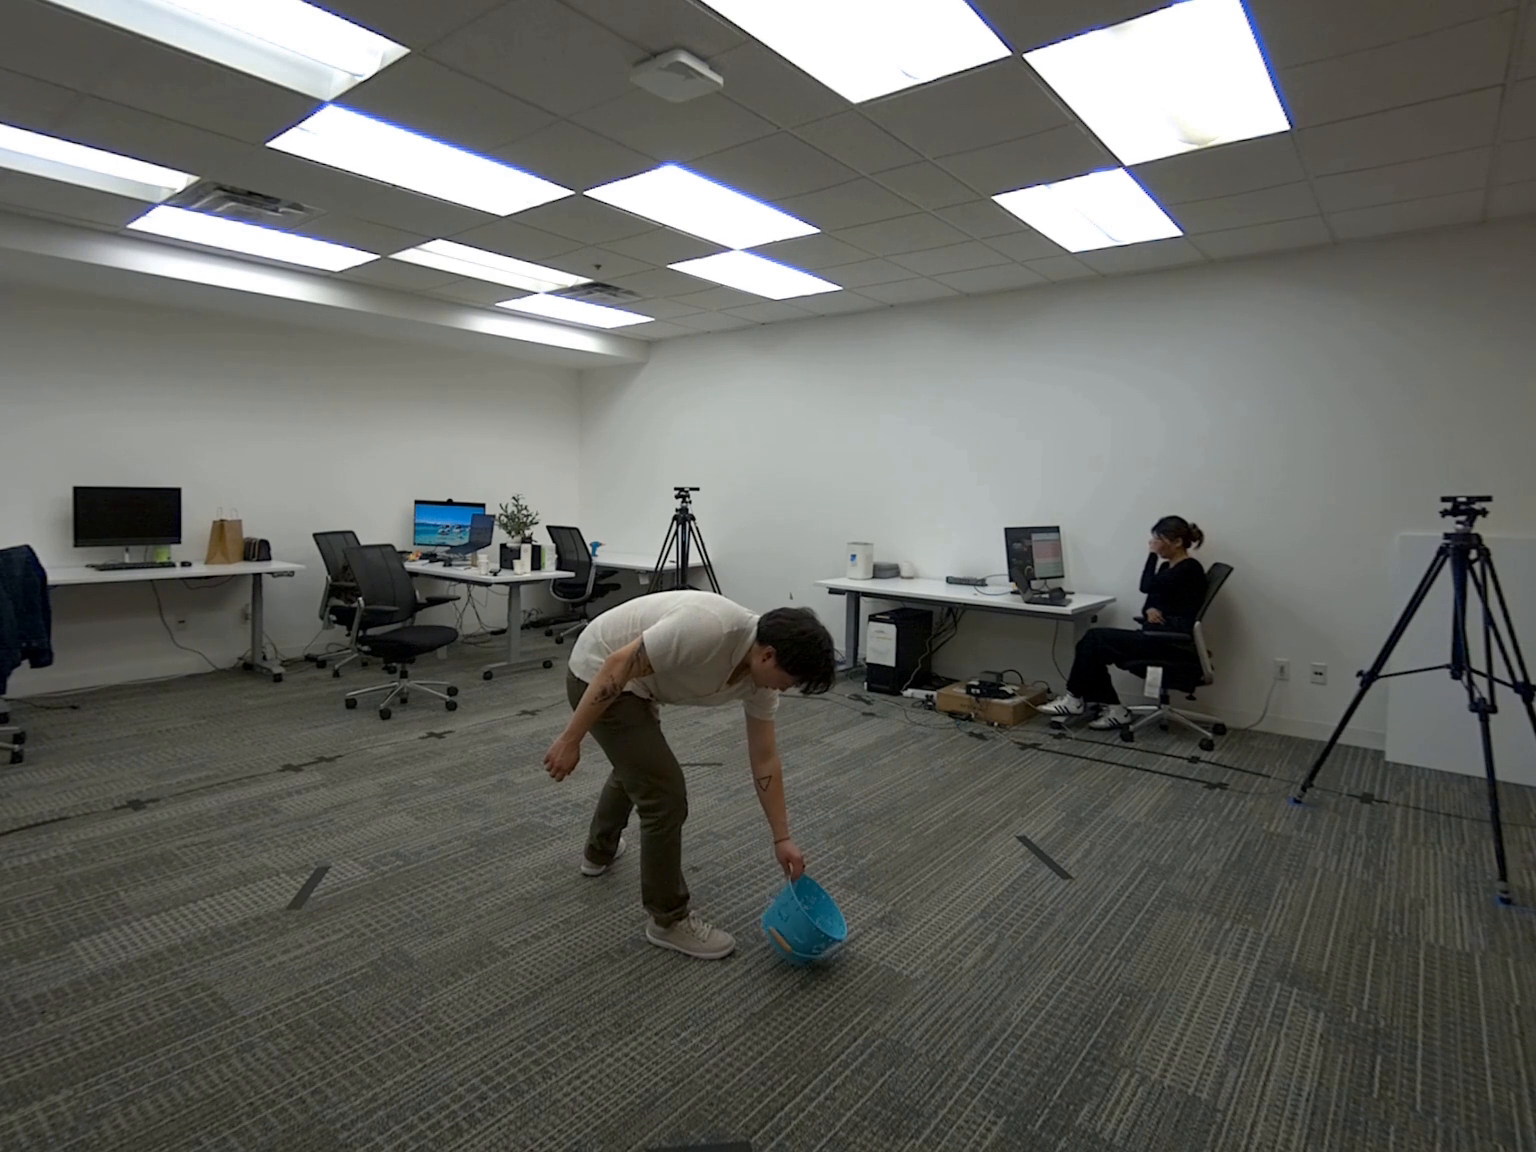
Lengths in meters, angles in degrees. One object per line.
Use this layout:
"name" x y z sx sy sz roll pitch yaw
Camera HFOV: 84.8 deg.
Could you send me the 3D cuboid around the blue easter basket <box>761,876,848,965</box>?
"blue easter basket" 0.088 1.015 2.518 0.240 0.156 0.247 40 11 -11
